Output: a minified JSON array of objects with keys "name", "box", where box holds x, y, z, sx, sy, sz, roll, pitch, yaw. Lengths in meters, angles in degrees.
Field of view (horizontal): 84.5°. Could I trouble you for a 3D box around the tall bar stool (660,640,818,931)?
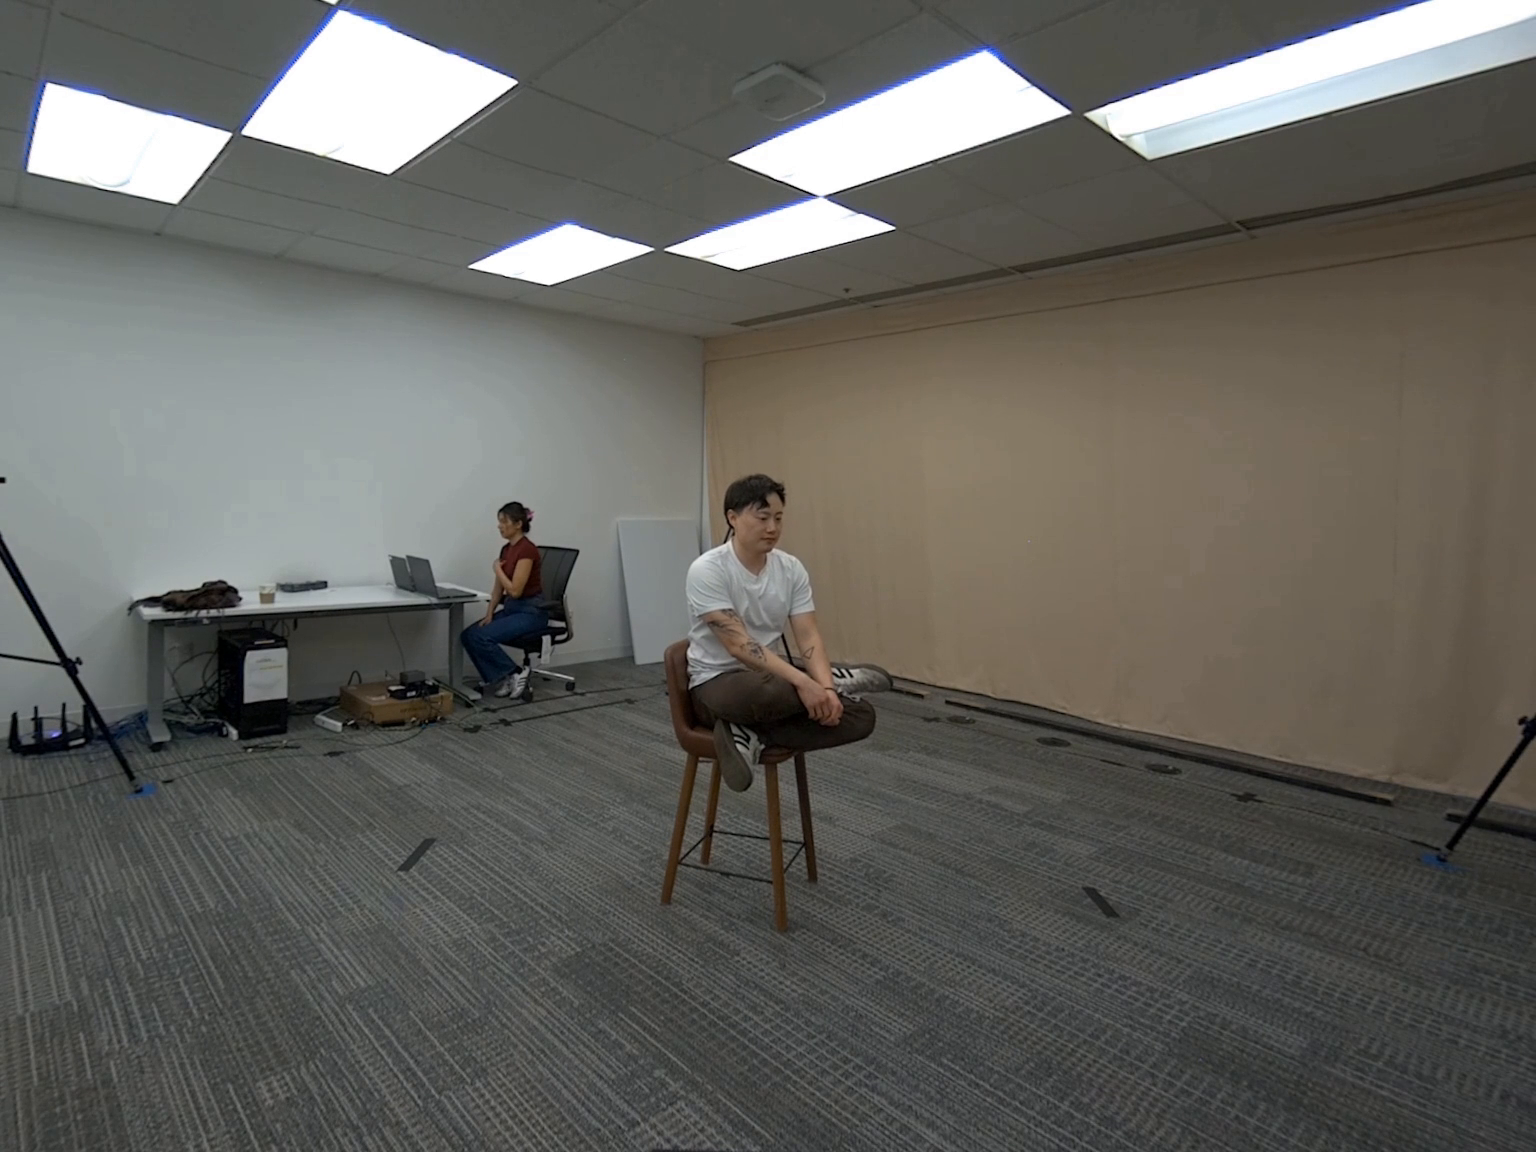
[{"name":"tall bar stool","box":[-0.104,0.687,2.944,0.475,0.888,0.450,0,3,22]}]
